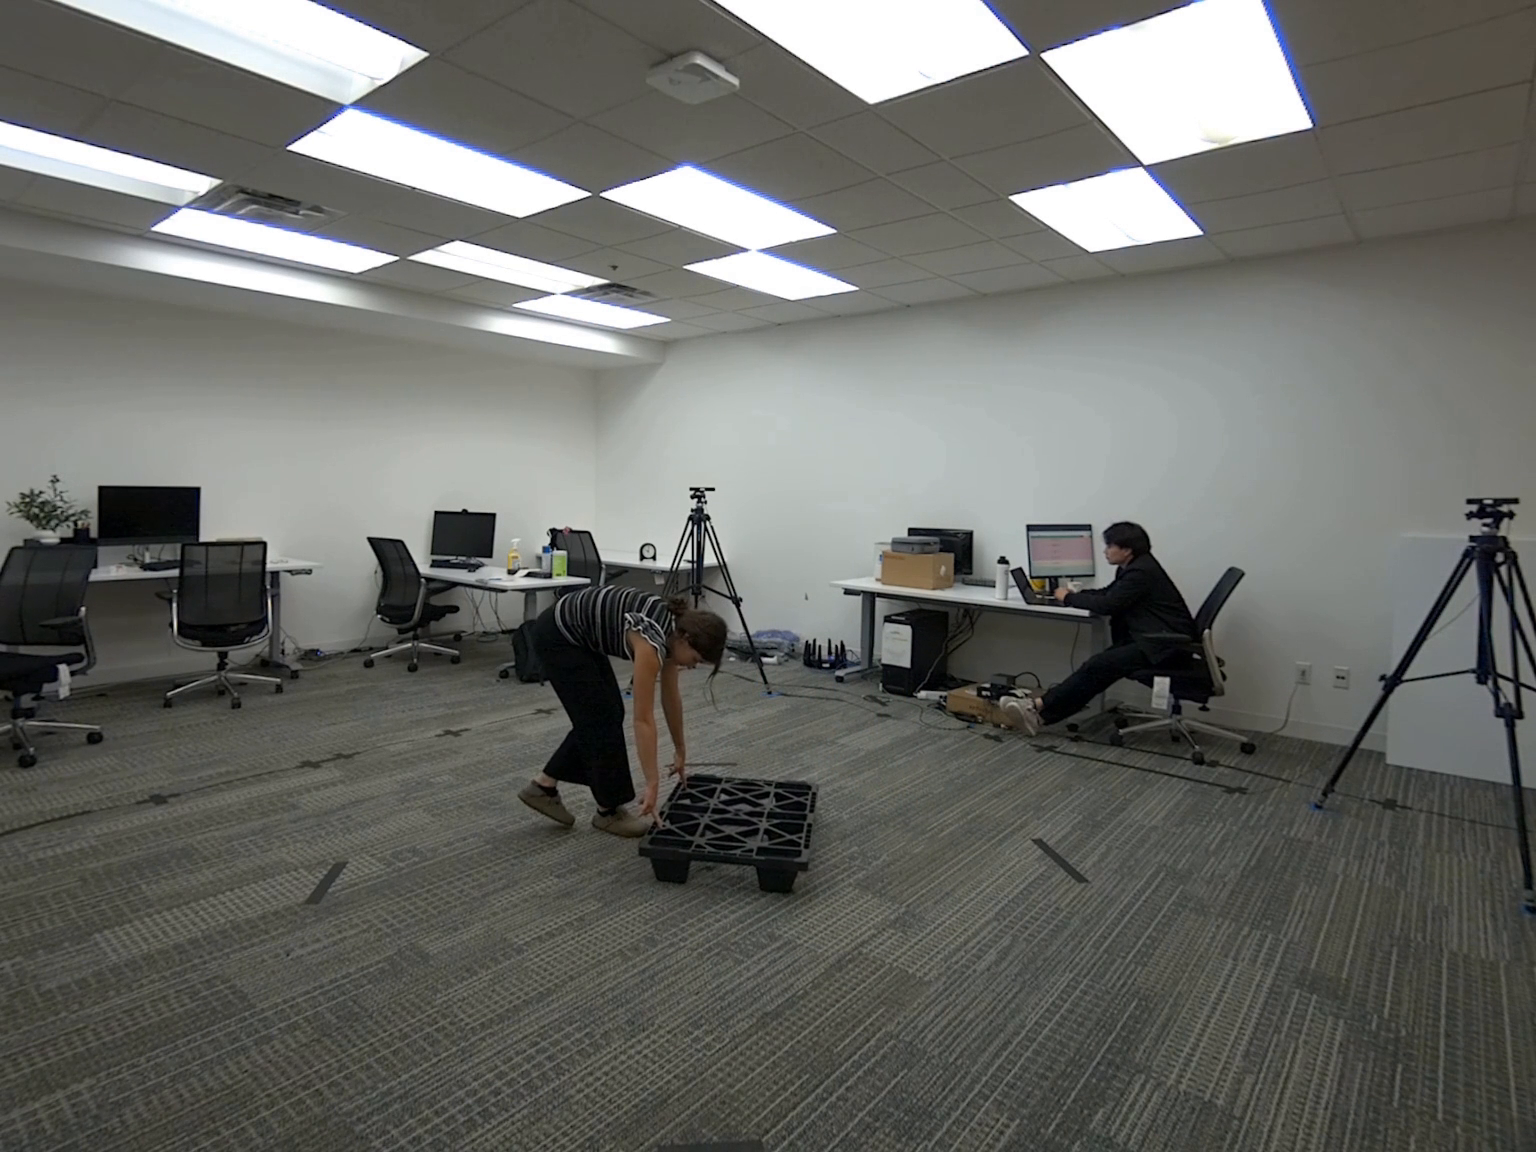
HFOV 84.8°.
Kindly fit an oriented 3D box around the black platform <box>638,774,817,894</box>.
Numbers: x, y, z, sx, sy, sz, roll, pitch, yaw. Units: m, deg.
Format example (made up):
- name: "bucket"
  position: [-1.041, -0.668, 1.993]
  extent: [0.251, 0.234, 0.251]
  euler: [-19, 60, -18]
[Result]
- name: "black platform"
  position: [-0.130, 0.980, 3.317]
  extent: [0.611, 0.143, 0.802]
  euler: [2, 6, 7]
